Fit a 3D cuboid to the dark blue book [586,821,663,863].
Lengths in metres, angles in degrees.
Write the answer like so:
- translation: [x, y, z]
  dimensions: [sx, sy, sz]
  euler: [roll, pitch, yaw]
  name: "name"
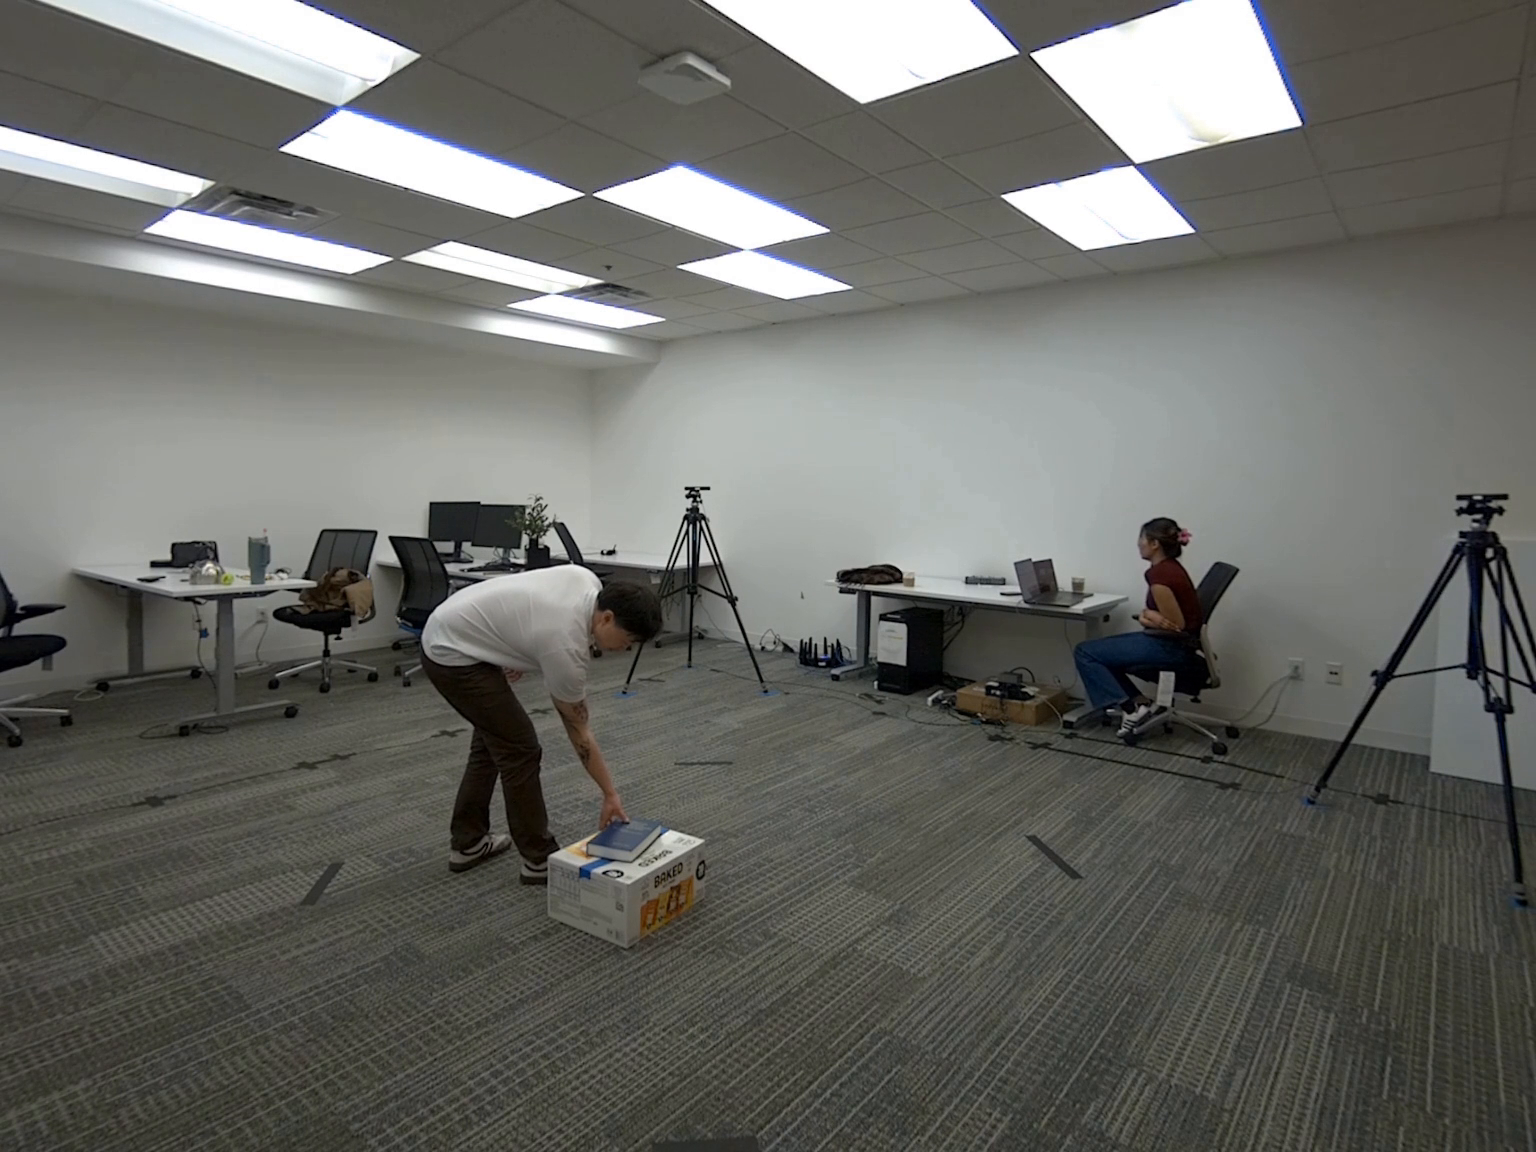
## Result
- translation: [-0.488, 0.874, 2.829]
  dimensions: [0.167, 0.045, 0.241]
  euler: [3, 6, 18]
  name: "dark blue book"
